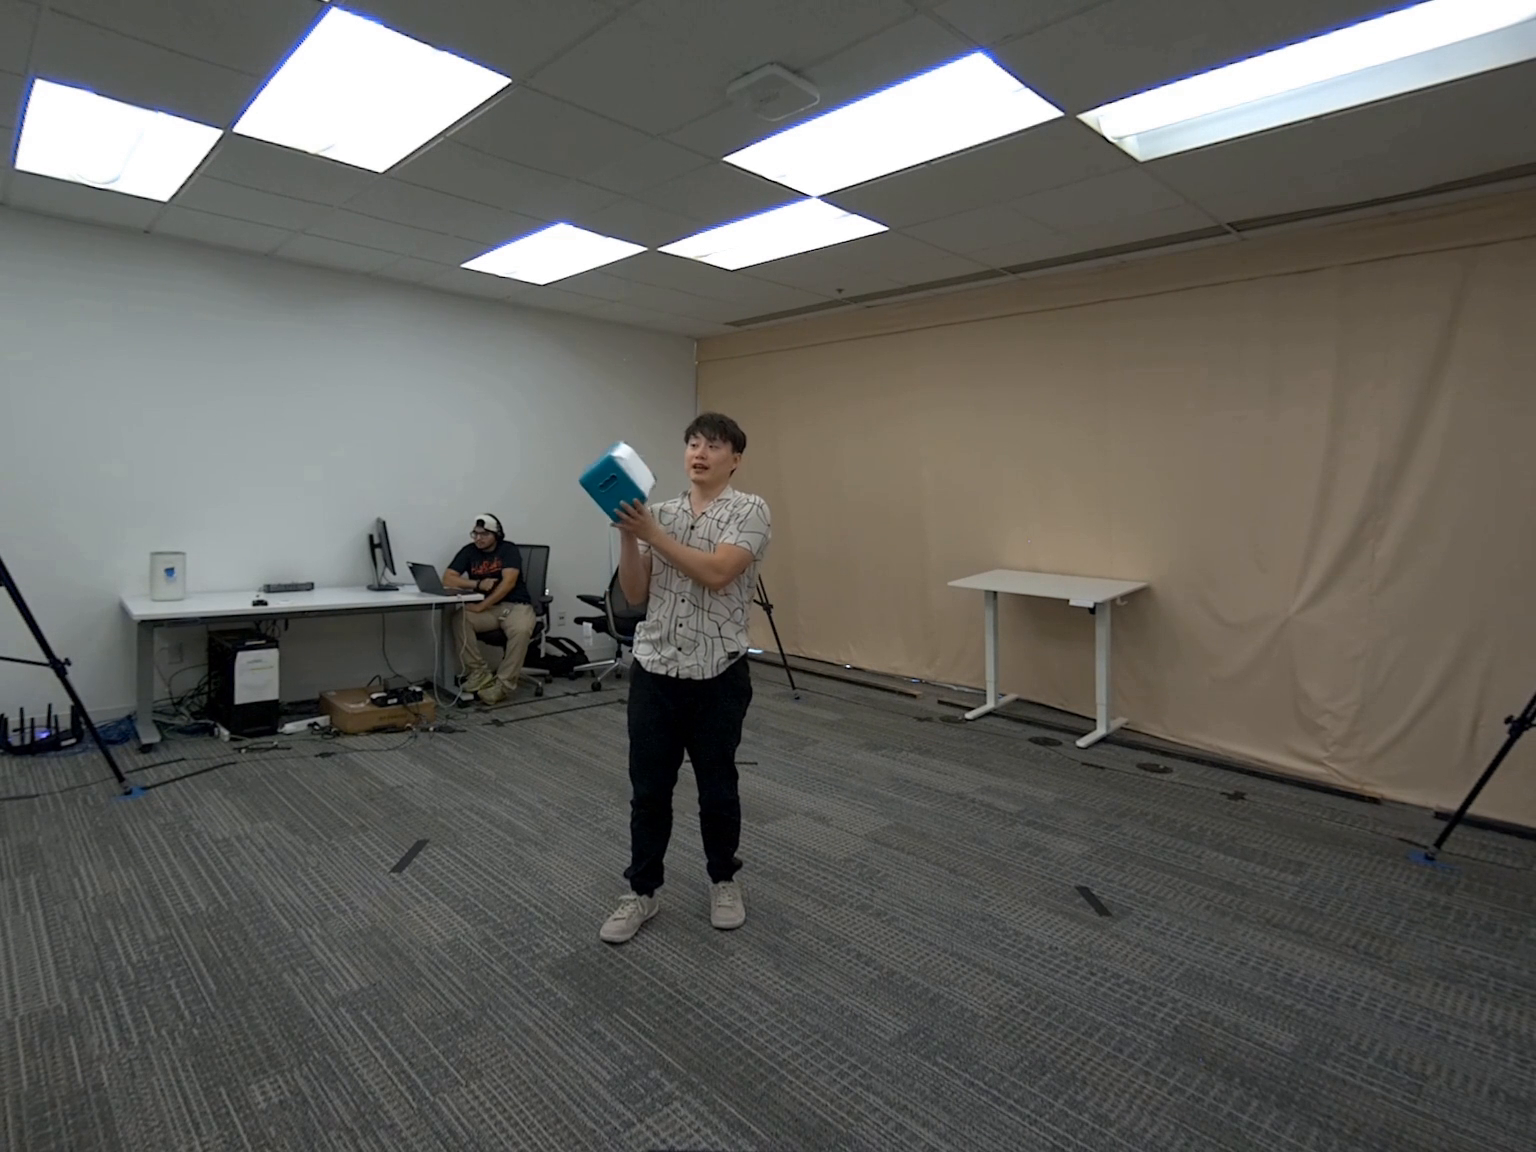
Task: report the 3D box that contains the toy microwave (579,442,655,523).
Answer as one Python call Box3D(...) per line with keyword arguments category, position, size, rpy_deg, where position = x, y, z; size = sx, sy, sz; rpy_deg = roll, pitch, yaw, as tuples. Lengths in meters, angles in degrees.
Box3D(category="toy microwave", position=(-0.462, -0.302, 2.593), size=(0.153, 0.182, 0.289), rpy_deg=(-36, 14, 12))
